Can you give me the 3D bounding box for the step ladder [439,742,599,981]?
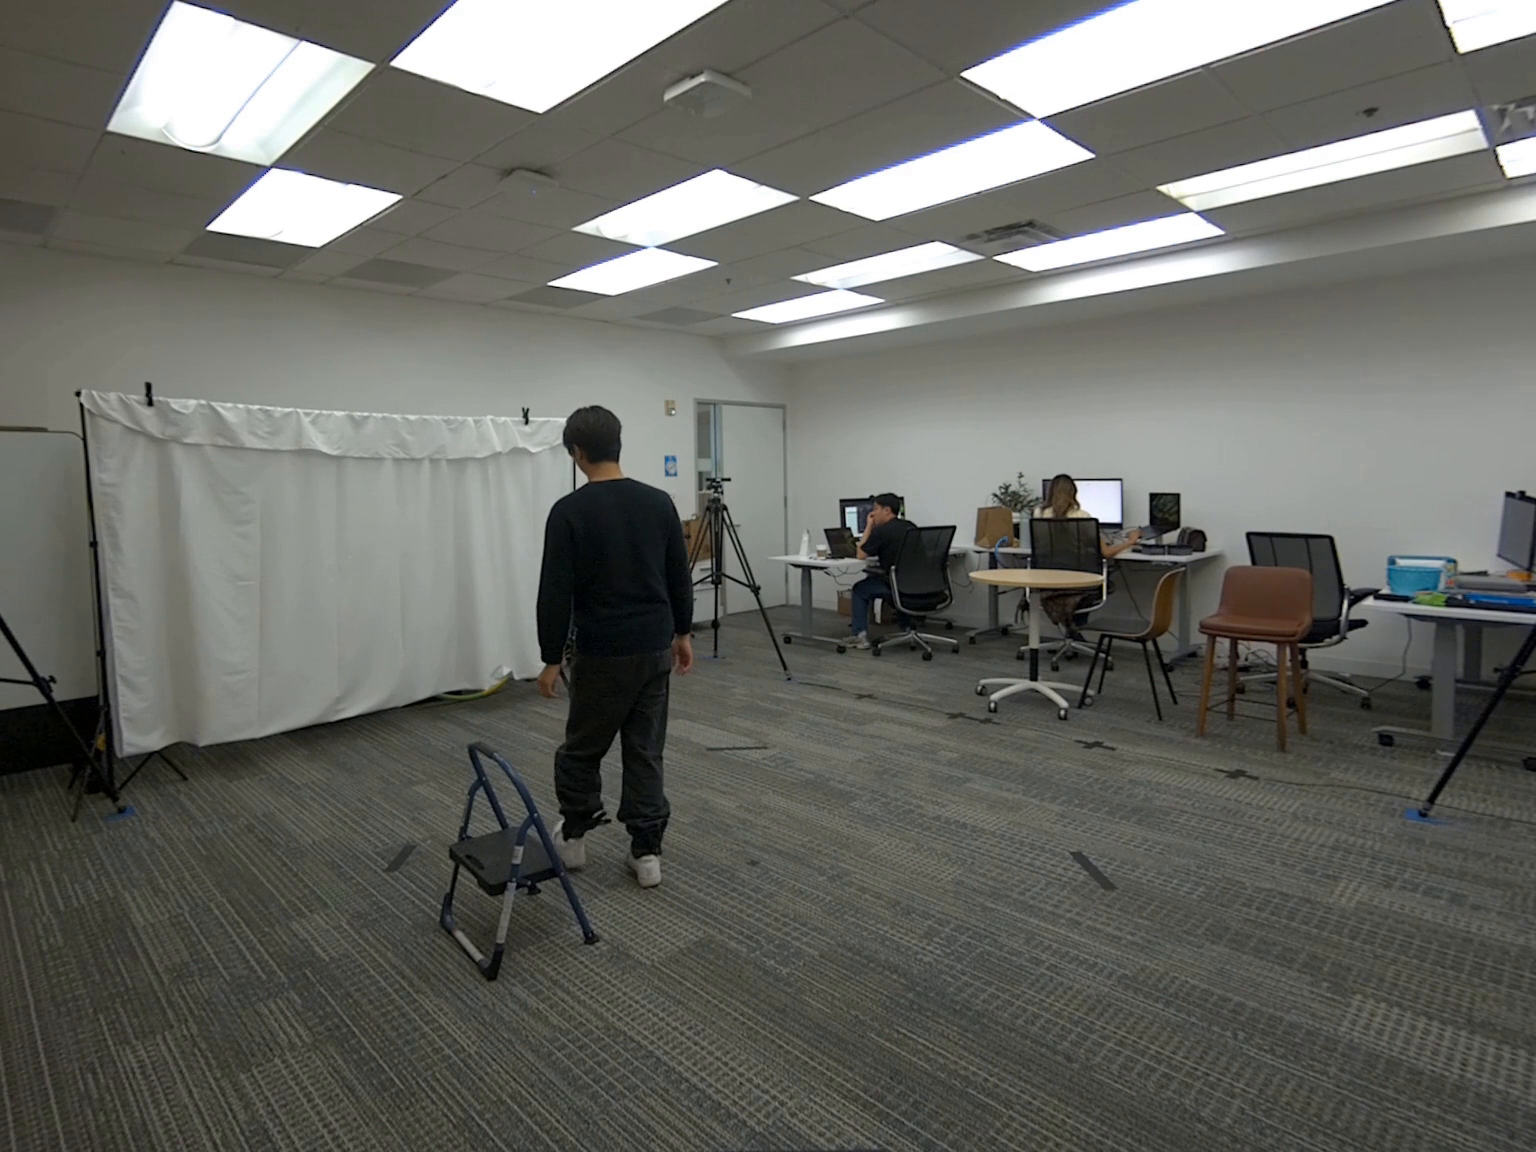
[{"bbox_3d":[-0.790,0.812,2.640,0.340,0.604,0.444,-5,6,-40],"label":"step ladder"}]
